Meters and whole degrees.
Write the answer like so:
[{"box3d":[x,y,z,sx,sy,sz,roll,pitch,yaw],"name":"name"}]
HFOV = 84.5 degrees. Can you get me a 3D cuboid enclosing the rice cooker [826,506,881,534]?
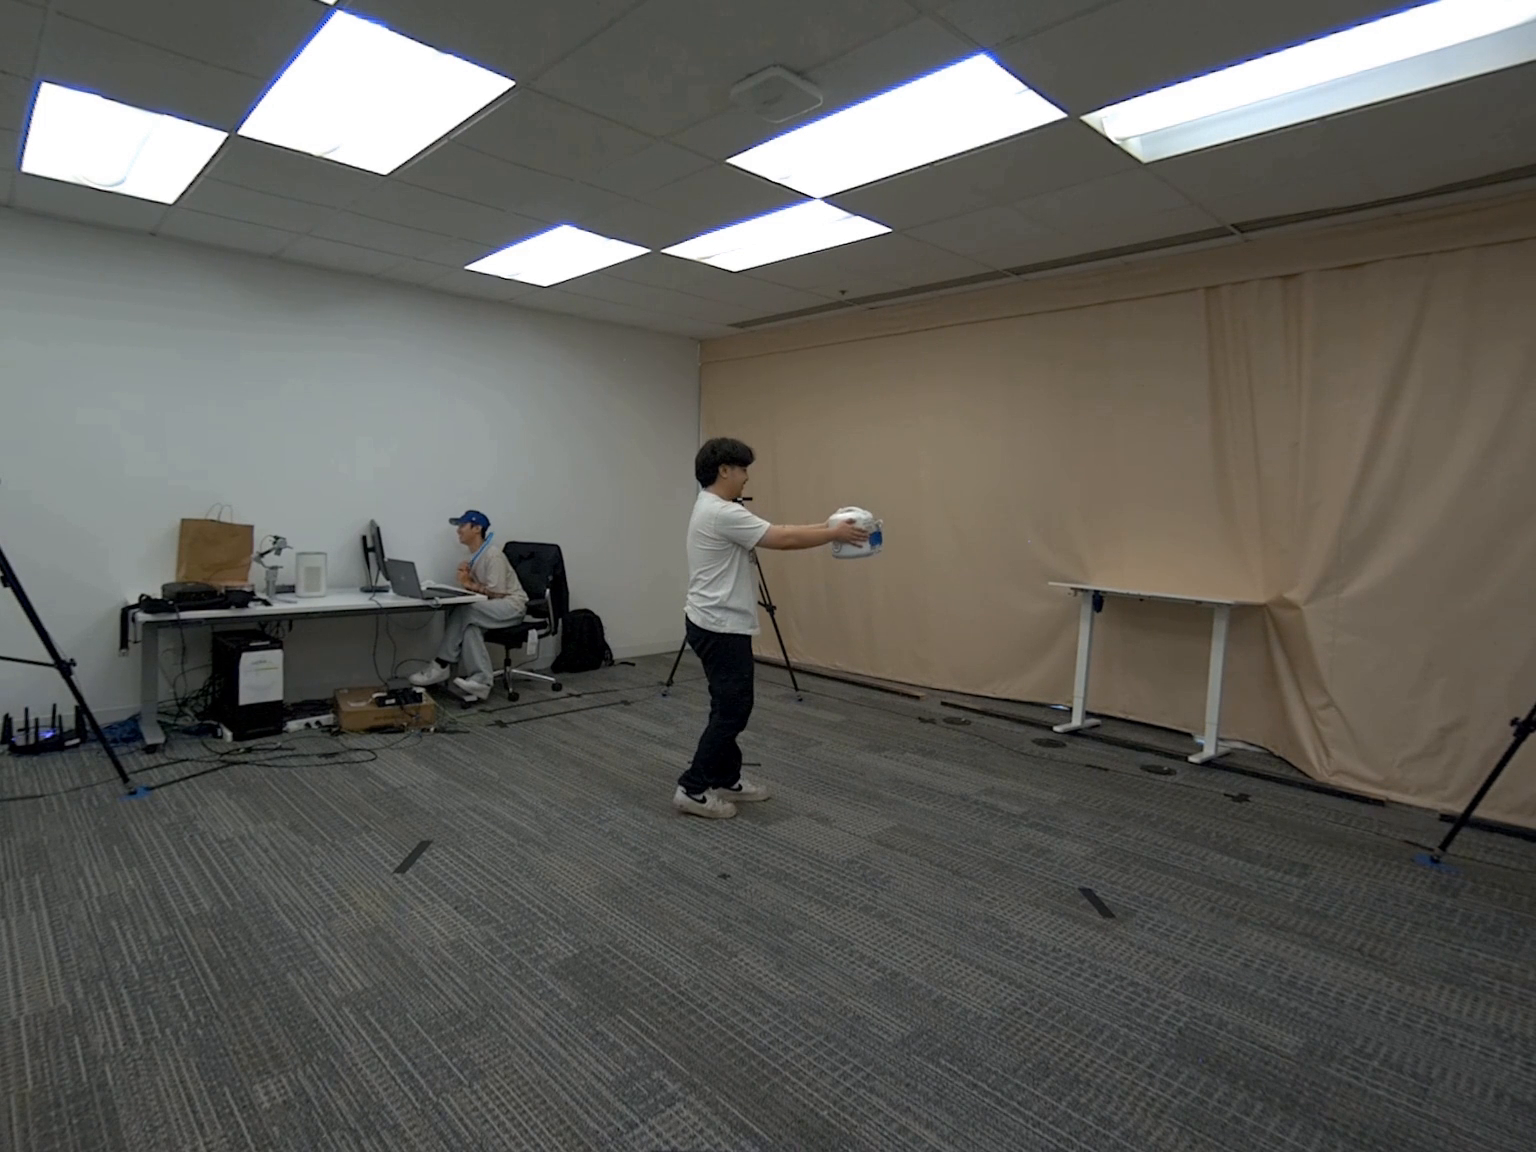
[{"box3d":[0.373,-0.202,3.866,0.213,0.232,0.226,-9,6,-41],"name":"rice cooker"}]
